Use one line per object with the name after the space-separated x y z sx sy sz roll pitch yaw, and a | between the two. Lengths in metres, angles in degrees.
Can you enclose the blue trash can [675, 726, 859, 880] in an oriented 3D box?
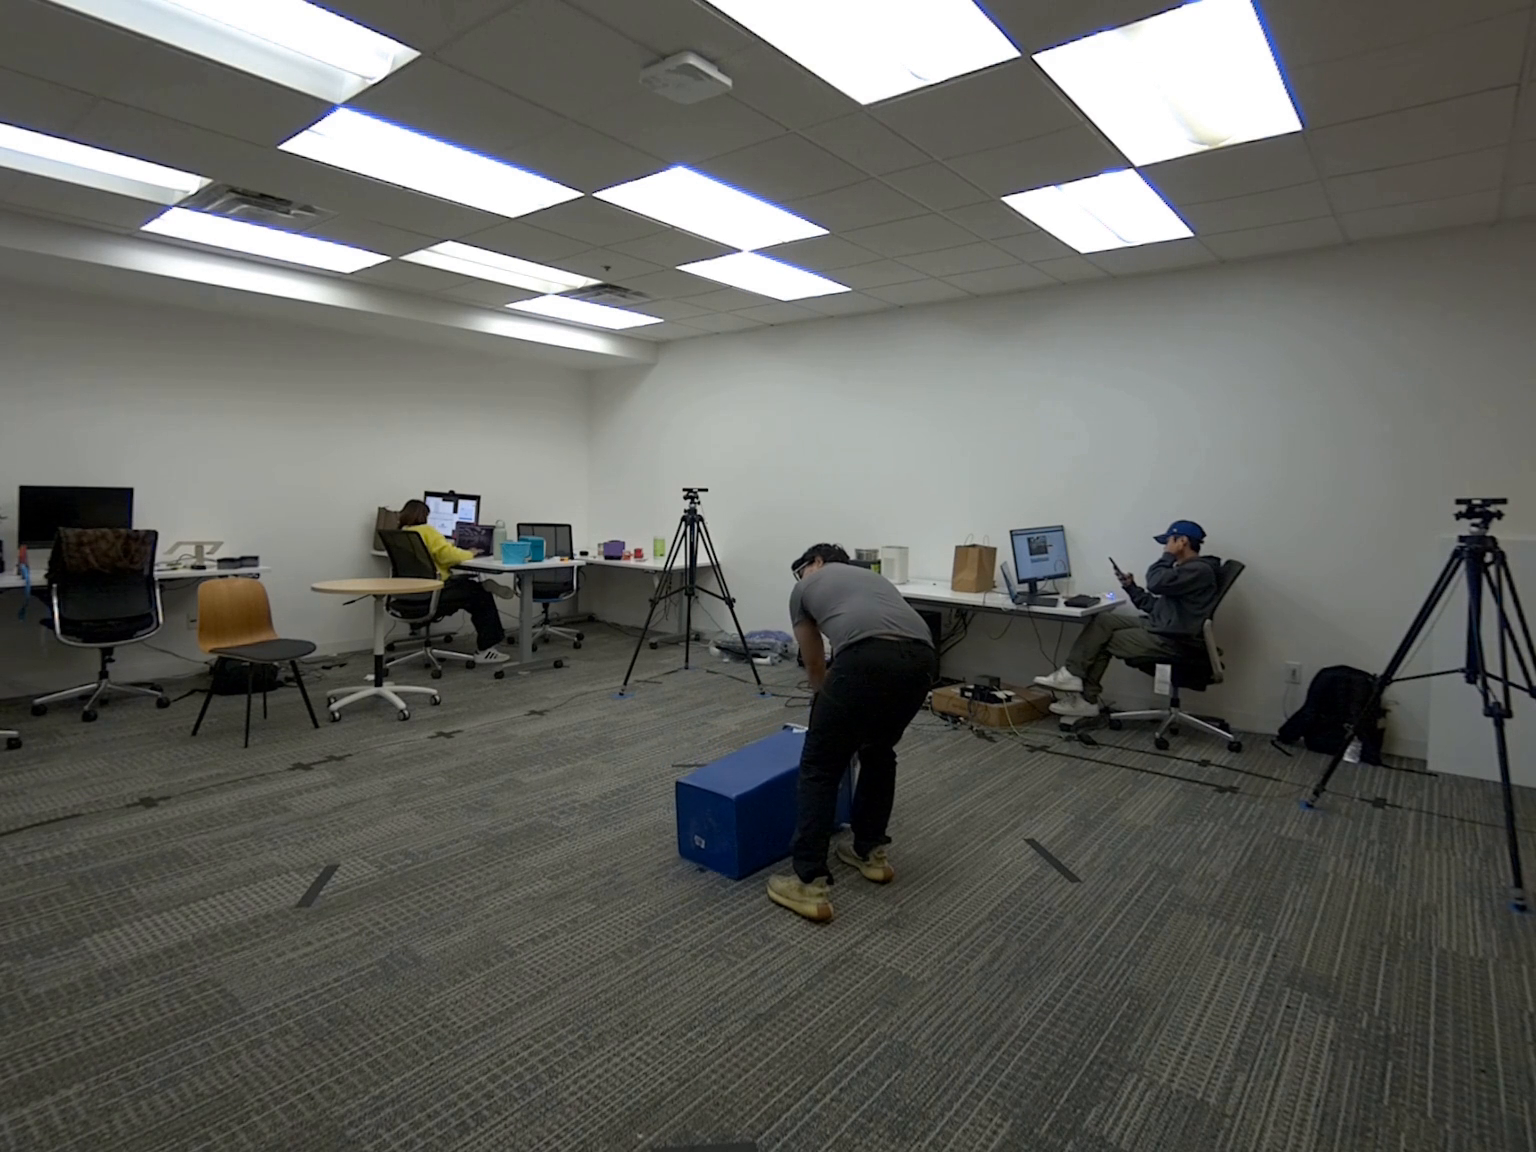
-0.024 0.870 3.366 0.387 0.376 0.694 4 9 41 | blue trash can
